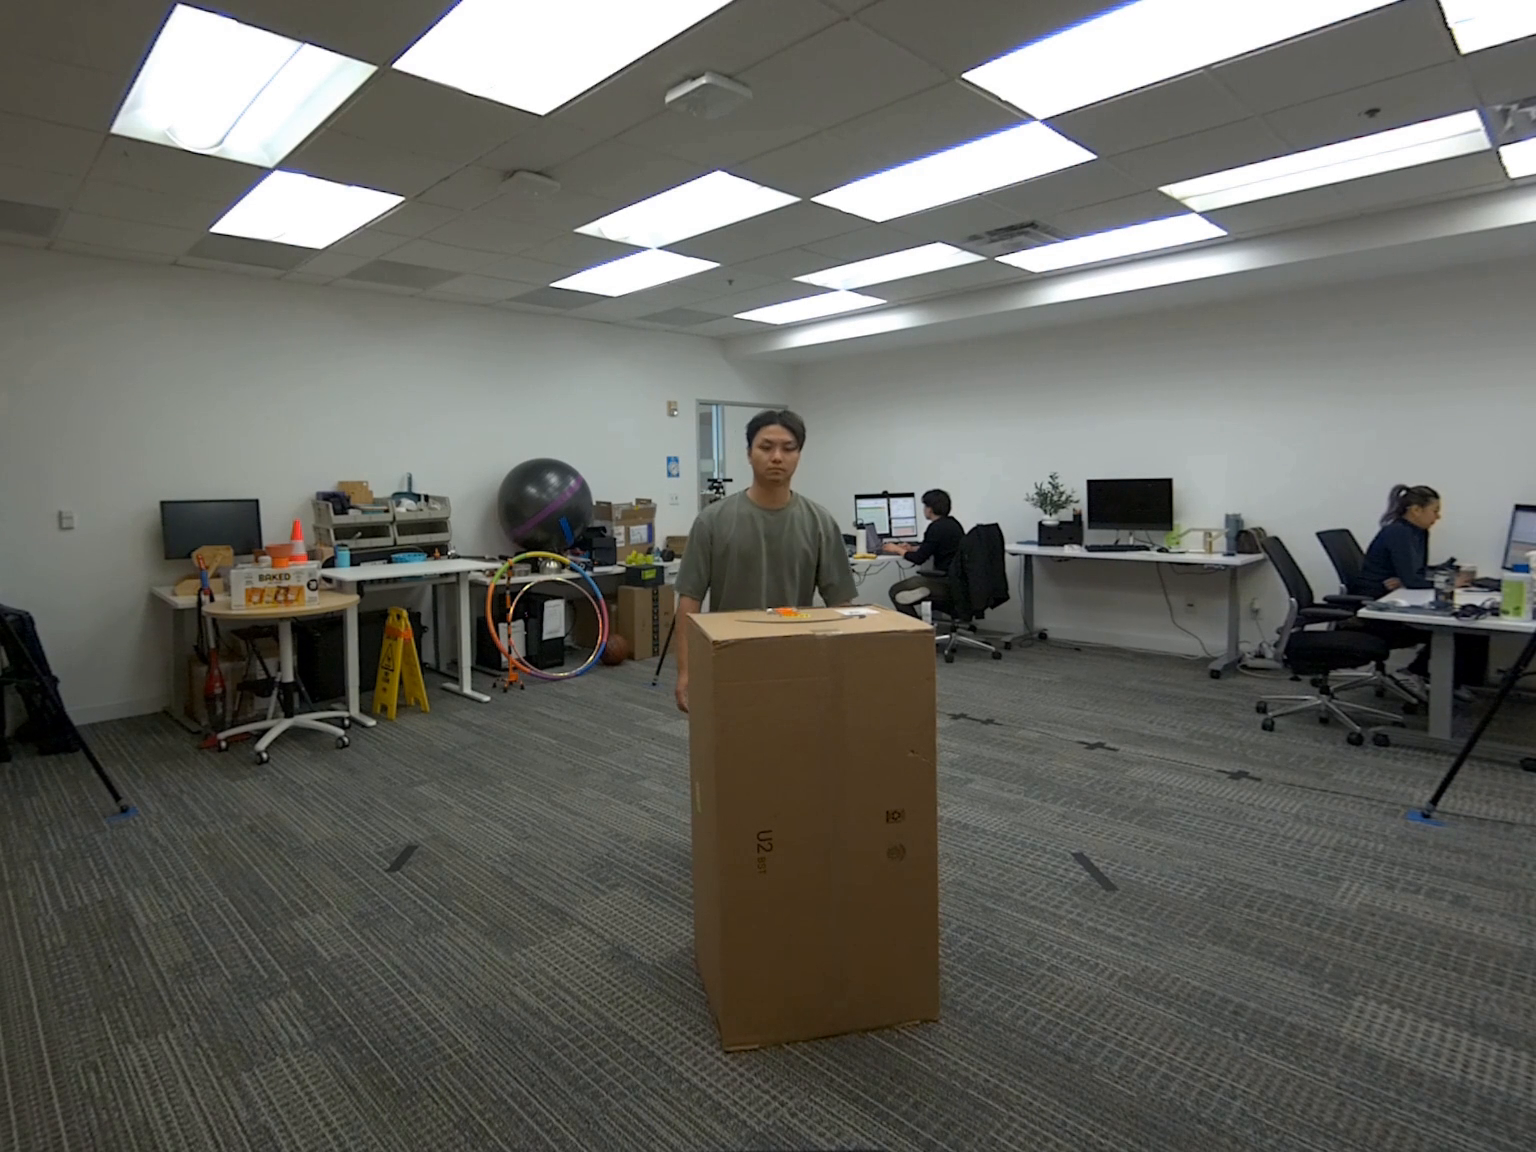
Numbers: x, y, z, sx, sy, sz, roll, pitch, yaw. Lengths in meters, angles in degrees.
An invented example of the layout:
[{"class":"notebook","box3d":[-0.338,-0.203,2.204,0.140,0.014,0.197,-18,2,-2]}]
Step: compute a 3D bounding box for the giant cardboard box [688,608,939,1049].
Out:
[{"class":"giant cardboard box","box3d":[0.105,0.630,2.311,0.571,1.022,0.433,-3,5,-13]}]
